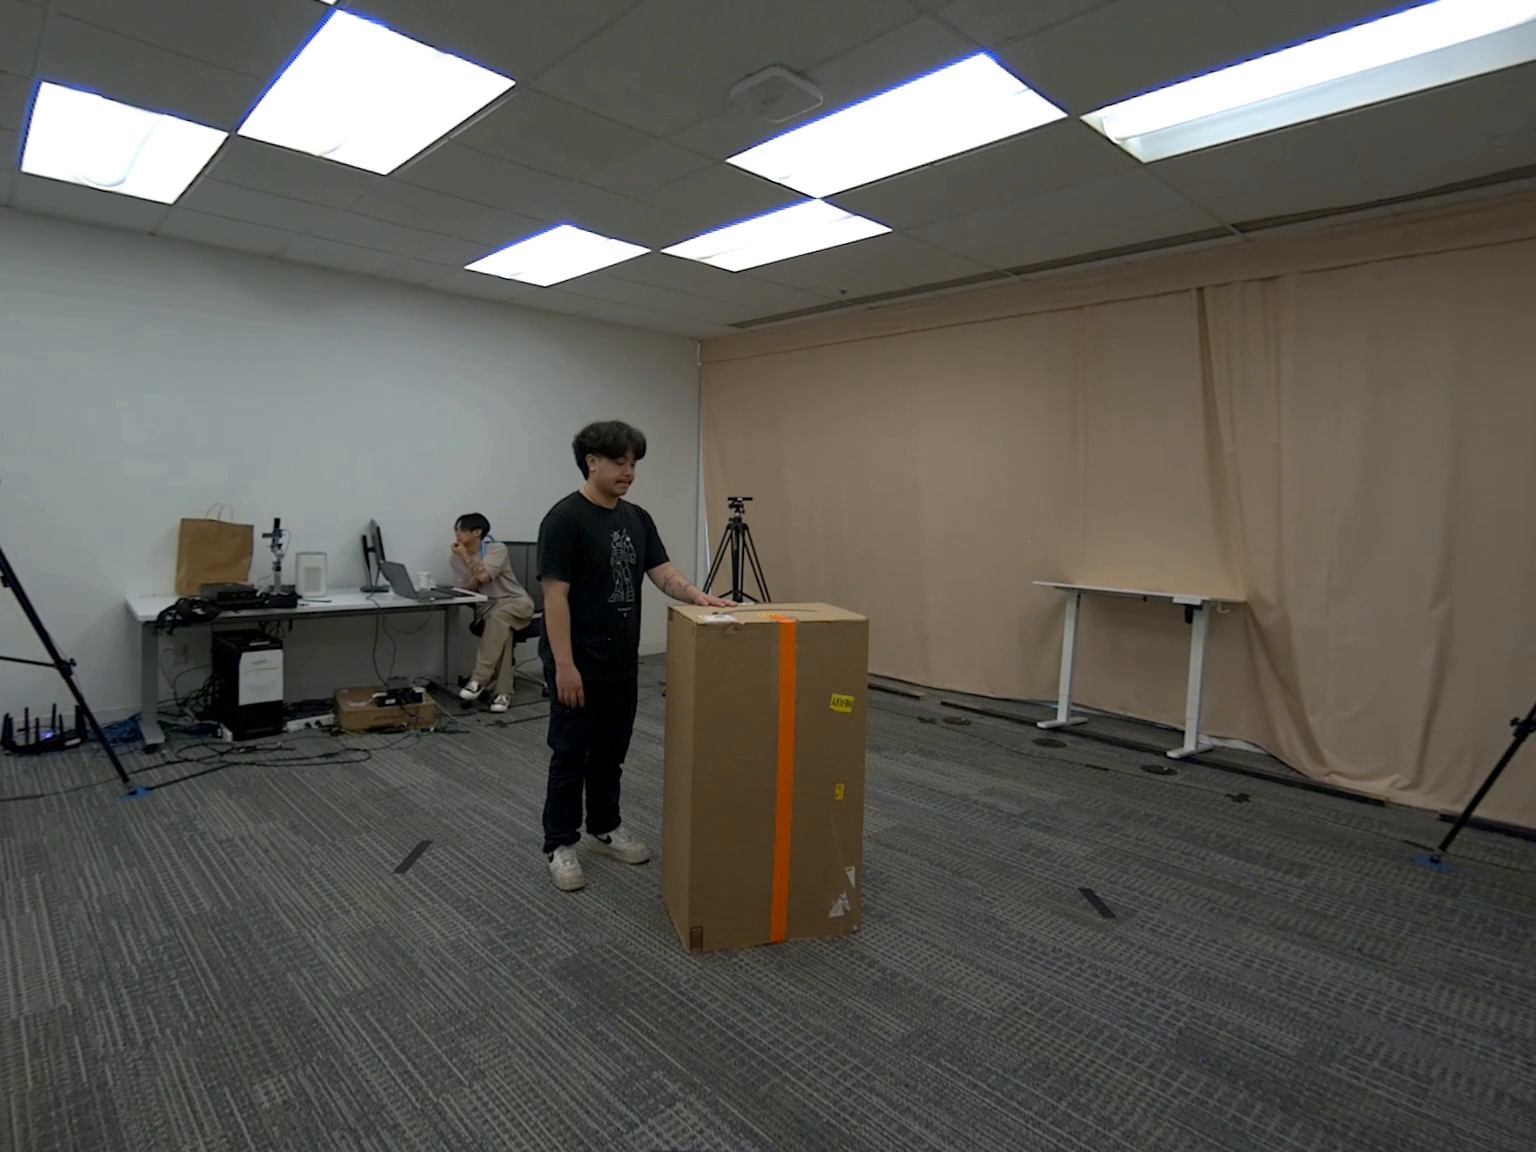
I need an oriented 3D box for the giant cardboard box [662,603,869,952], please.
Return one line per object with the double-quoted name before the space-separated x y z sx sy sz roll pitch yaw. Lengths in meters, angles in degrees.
"giant cardboard box" -0.031 0.625 2.813 0.576 1.024 0.454 1 4 -17
